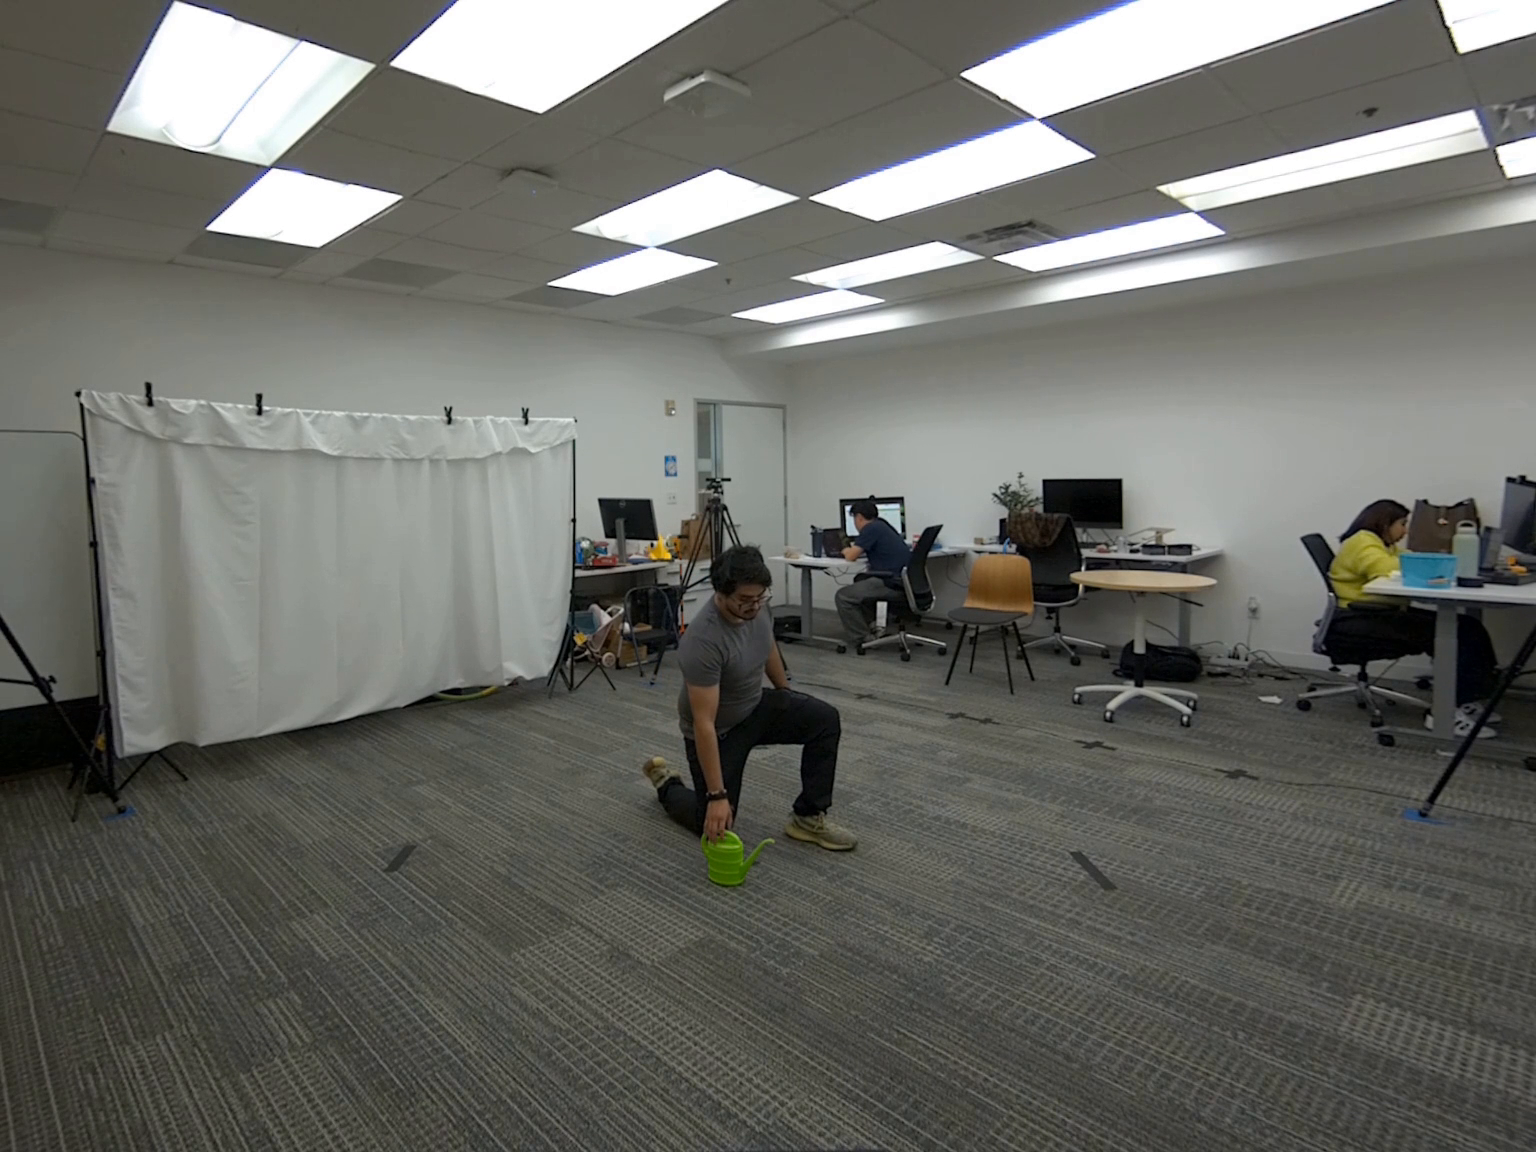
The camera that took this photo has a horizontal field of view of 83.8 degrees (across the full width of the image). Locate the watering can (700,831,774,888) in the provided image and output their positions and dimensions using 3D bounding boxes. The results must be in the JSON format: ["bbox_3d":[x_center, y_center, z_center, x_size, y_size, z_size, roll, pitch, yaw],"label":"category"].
[{"bbox_3d":[-0.112,0.979,2.945,0.286,0.176,0.095,3,7,39],"label":"watering can"}]
